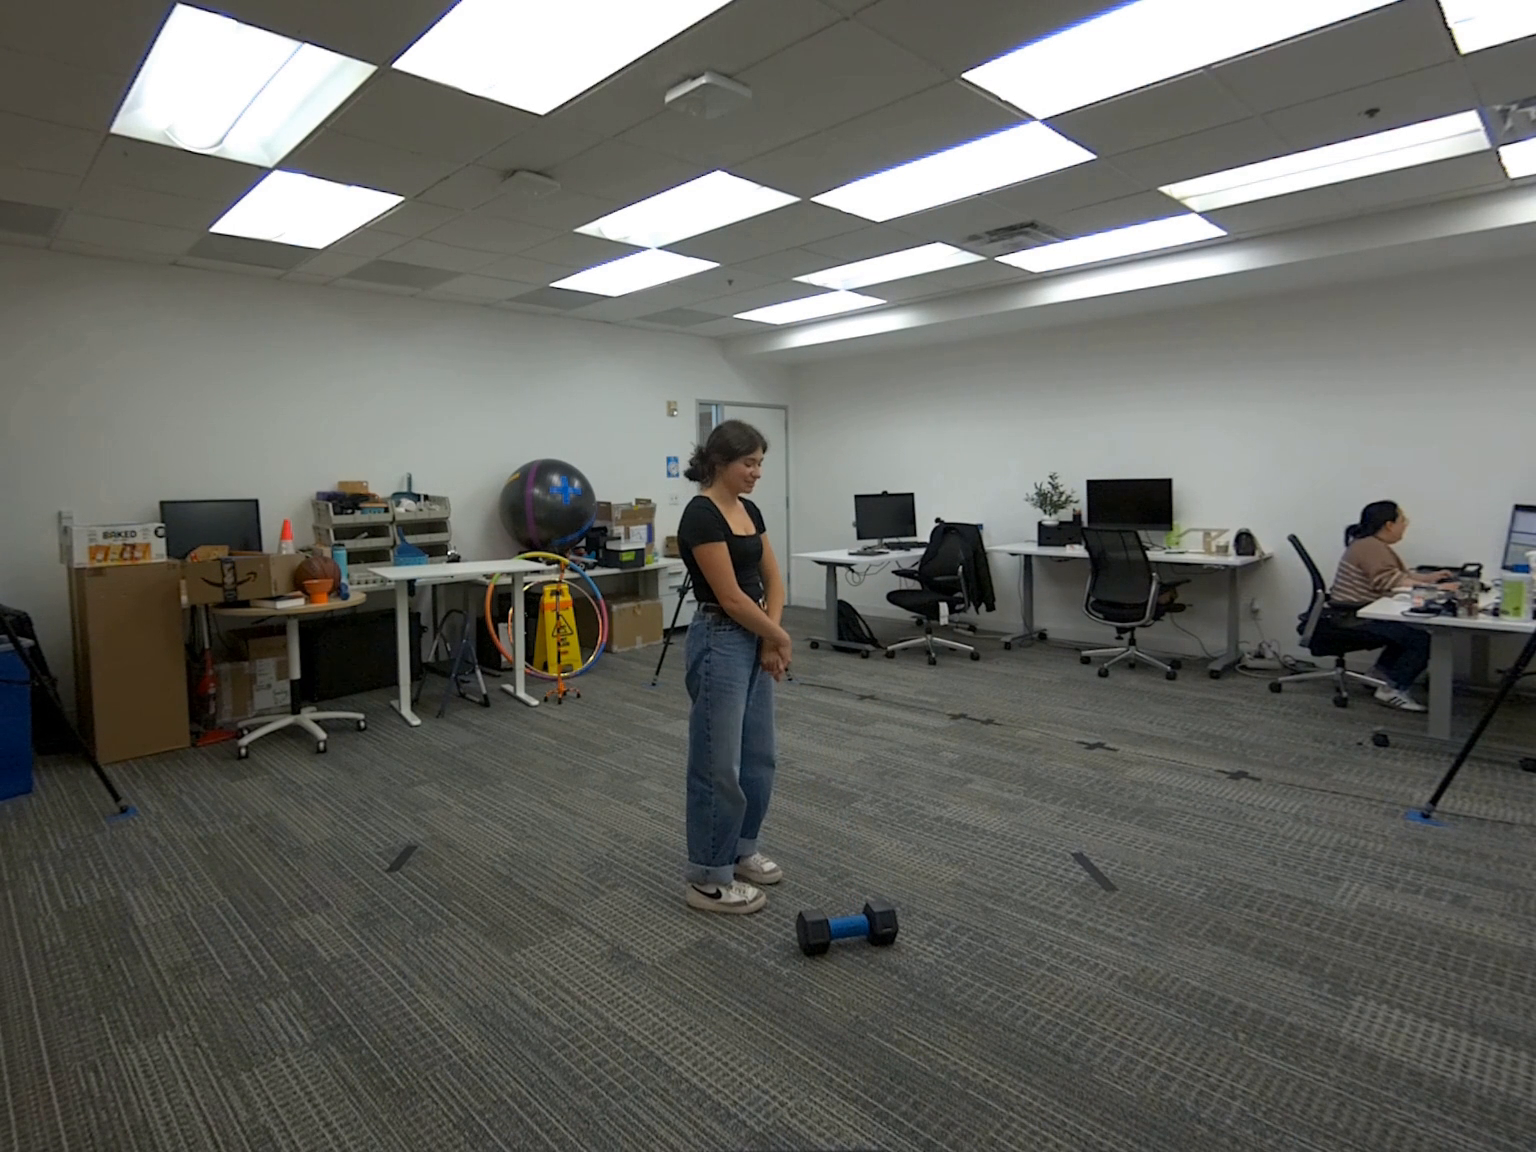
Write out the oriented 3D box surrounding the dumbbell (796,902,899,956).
[{"bbox_3d":[0.244,1.052,2.550,0.290,0.120,0.112,-2,36,-13],"label":"dumbbell"}]
